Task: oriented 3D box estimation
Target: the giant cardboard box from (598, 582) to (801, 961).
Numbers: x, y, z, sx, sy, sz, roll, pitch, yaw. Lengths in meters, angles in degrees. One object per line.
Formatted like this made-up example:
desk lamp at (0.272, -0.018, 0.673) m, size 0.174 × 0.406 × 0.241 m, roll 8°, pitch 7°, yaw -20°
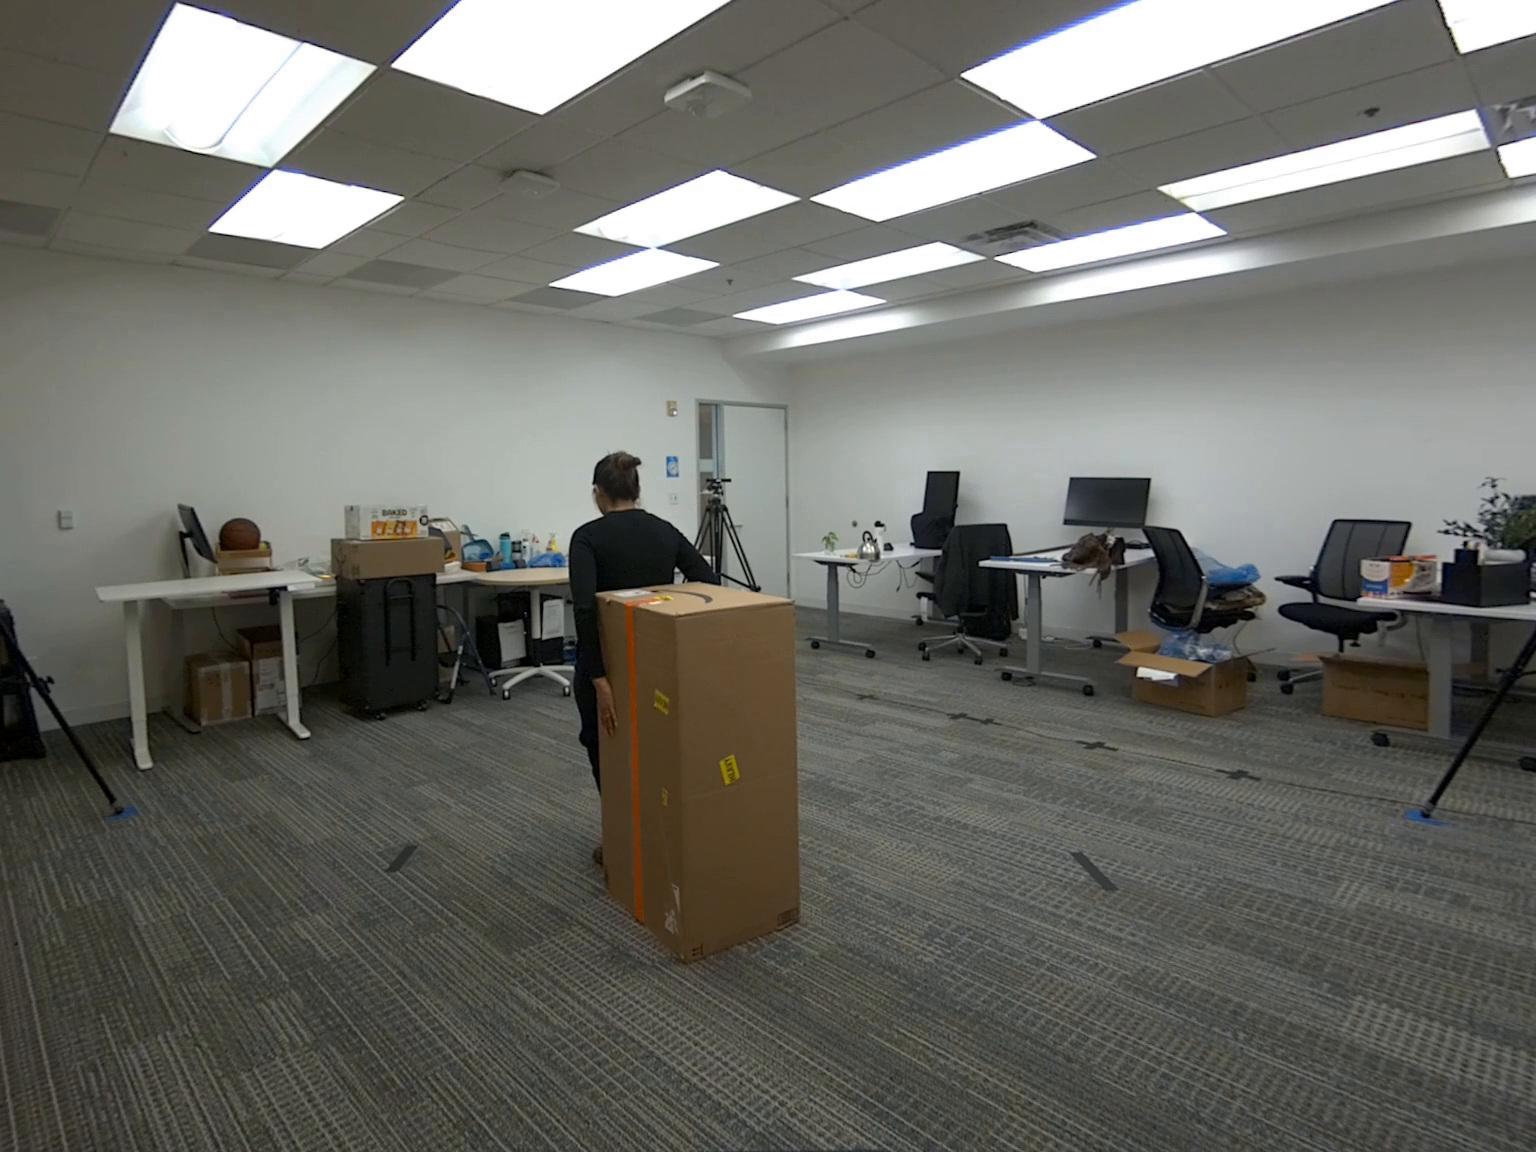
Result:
giant cardboard box at (-0.235, 0.575, 2.775) m, size 0.416 × 1.022 × 0.594 m, roll -4°, pitch 6°, yaw -34°
